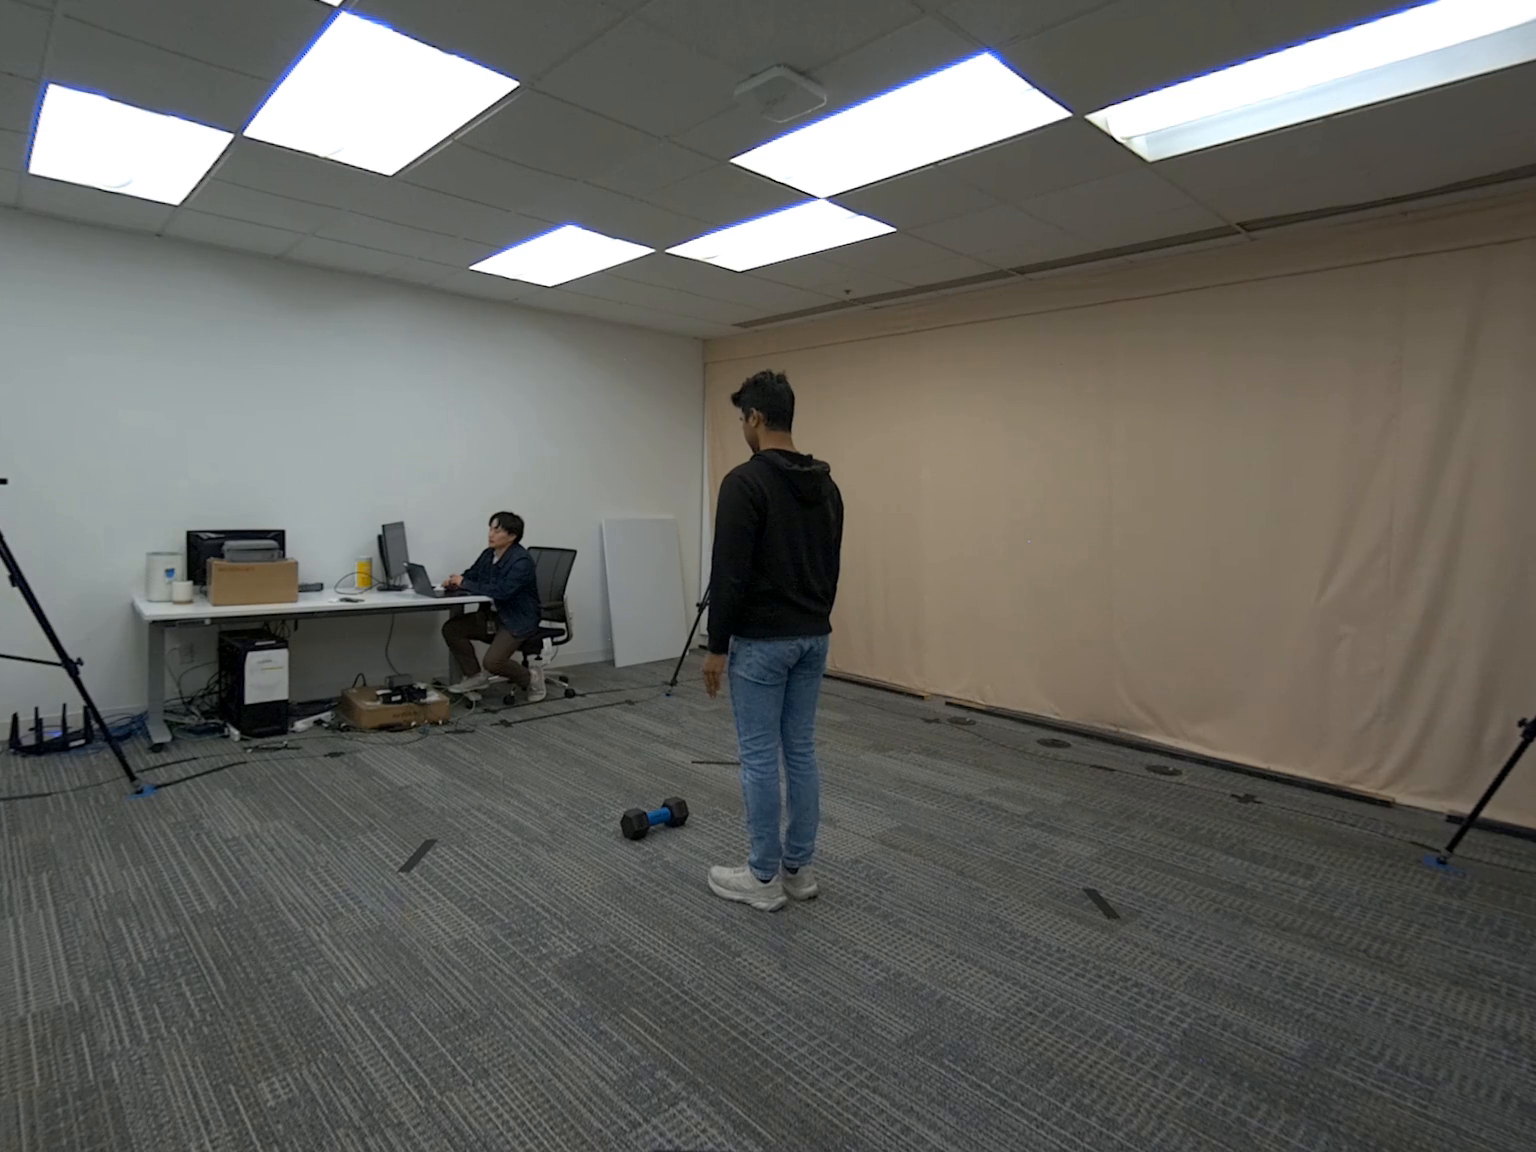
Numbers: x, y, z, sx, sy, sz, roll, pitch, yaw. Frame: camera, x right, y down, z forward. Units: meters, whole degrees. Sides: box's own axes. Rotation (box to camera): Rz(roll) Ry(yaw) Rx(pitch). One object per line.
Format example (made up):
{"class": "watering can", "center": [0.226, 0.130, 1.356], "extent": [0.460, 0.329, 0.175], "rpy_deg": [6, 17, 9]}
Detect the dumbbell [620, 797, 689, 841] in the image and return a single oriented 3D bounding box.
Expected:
{"class": "dumbbell", "center": [-0.480, 1.009, 3.509], "extent": [0.287, 0.125, 0.109], "rpy_deg": [-3, -25, -46]}
